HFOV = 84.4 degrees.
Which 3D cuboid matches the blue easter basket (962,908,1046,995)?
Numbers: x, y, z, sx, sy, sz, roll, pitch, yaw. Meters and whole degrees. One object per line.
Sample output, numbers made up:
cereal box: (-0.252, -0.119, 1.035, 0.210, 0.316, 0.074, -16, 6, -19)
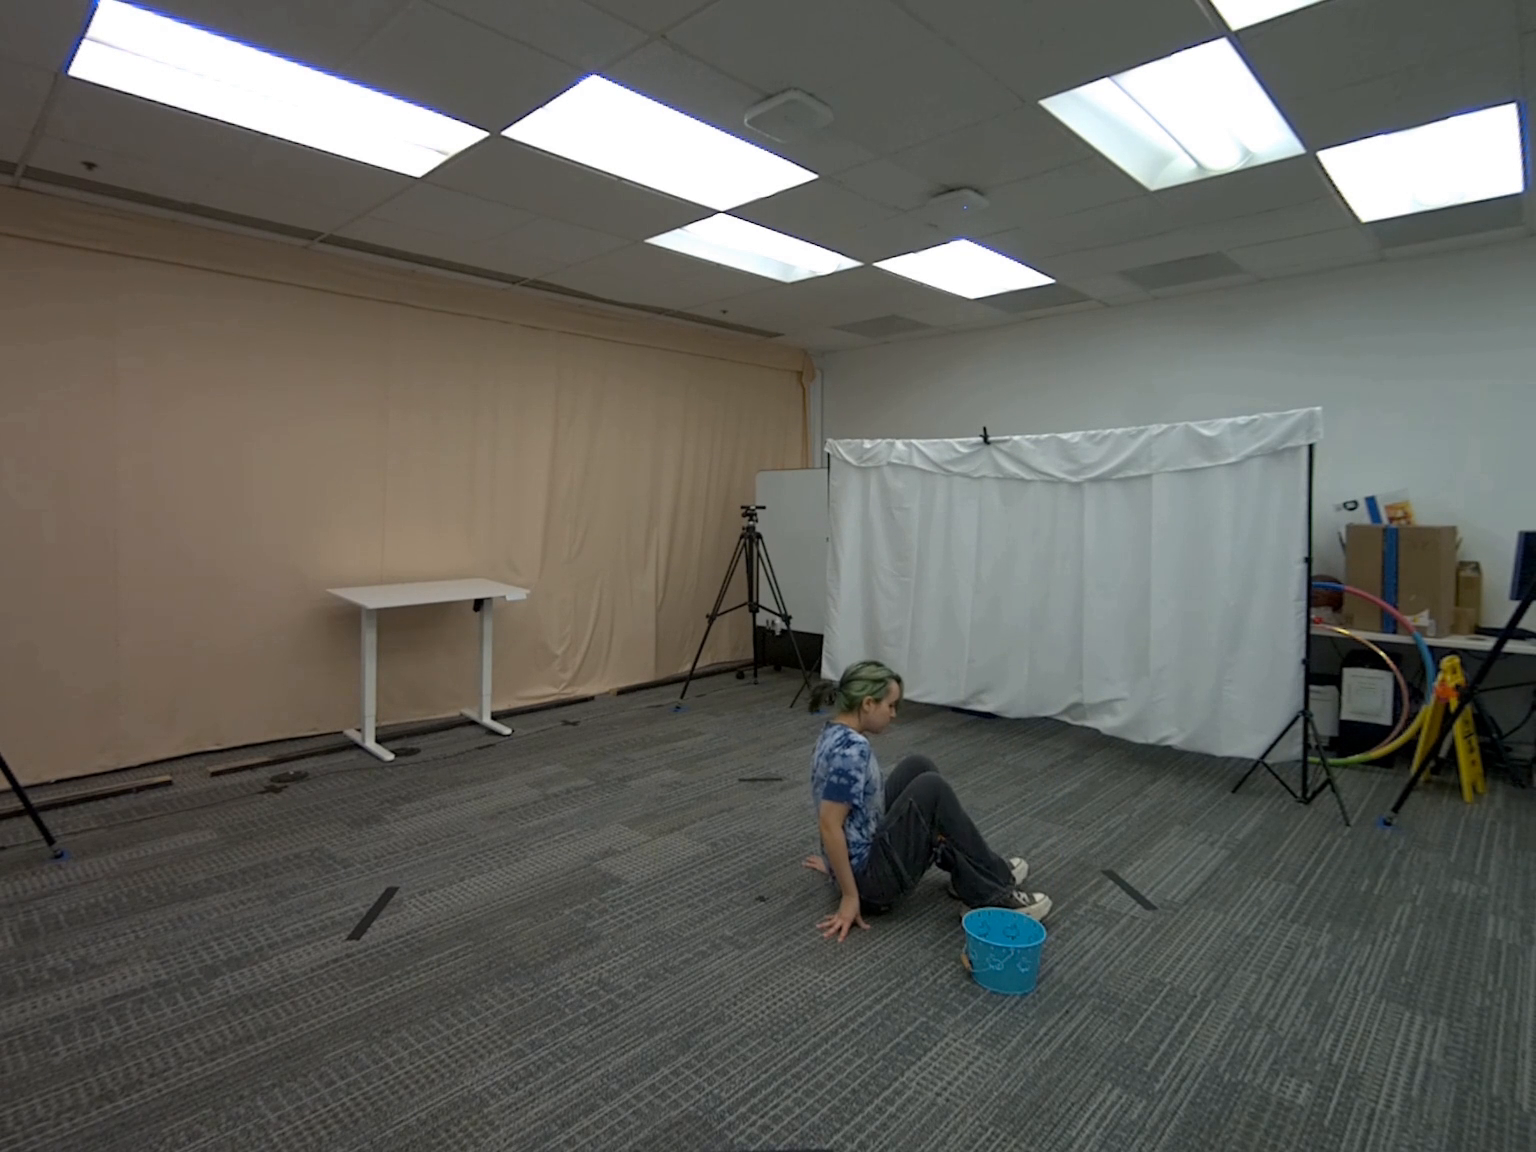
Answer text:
blue easter basket: (0.693, 1.099, 2.483, 0.243, 0.155, 0.244, 0, 4, -2)
